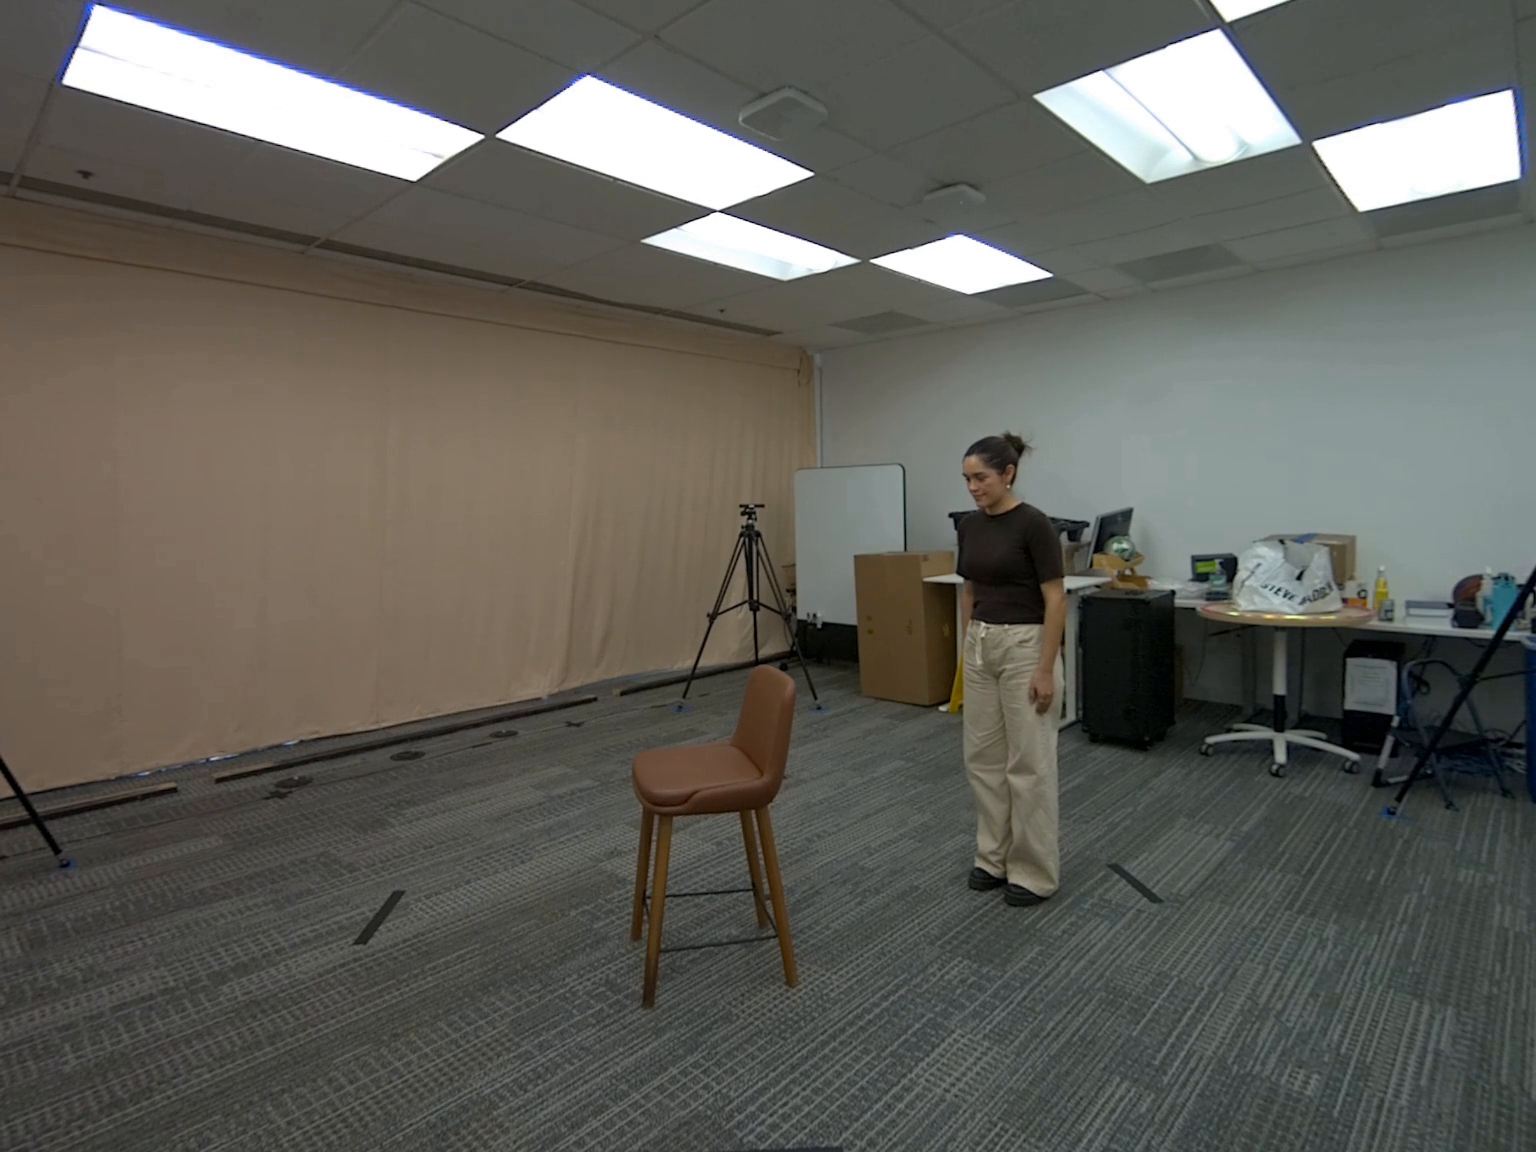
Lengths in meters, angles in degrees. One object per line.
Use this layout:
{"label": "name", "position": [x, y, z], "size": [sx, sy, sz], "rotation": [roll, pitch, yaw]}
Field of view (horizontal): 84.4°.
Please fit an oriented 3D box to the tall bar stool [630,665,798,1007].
{"label": "tall bar stool", "position": [-0.172, 0.744, 2.554], "size": [0.462, 0.888, 0.463], "rotation": [0, 4, -12]}
